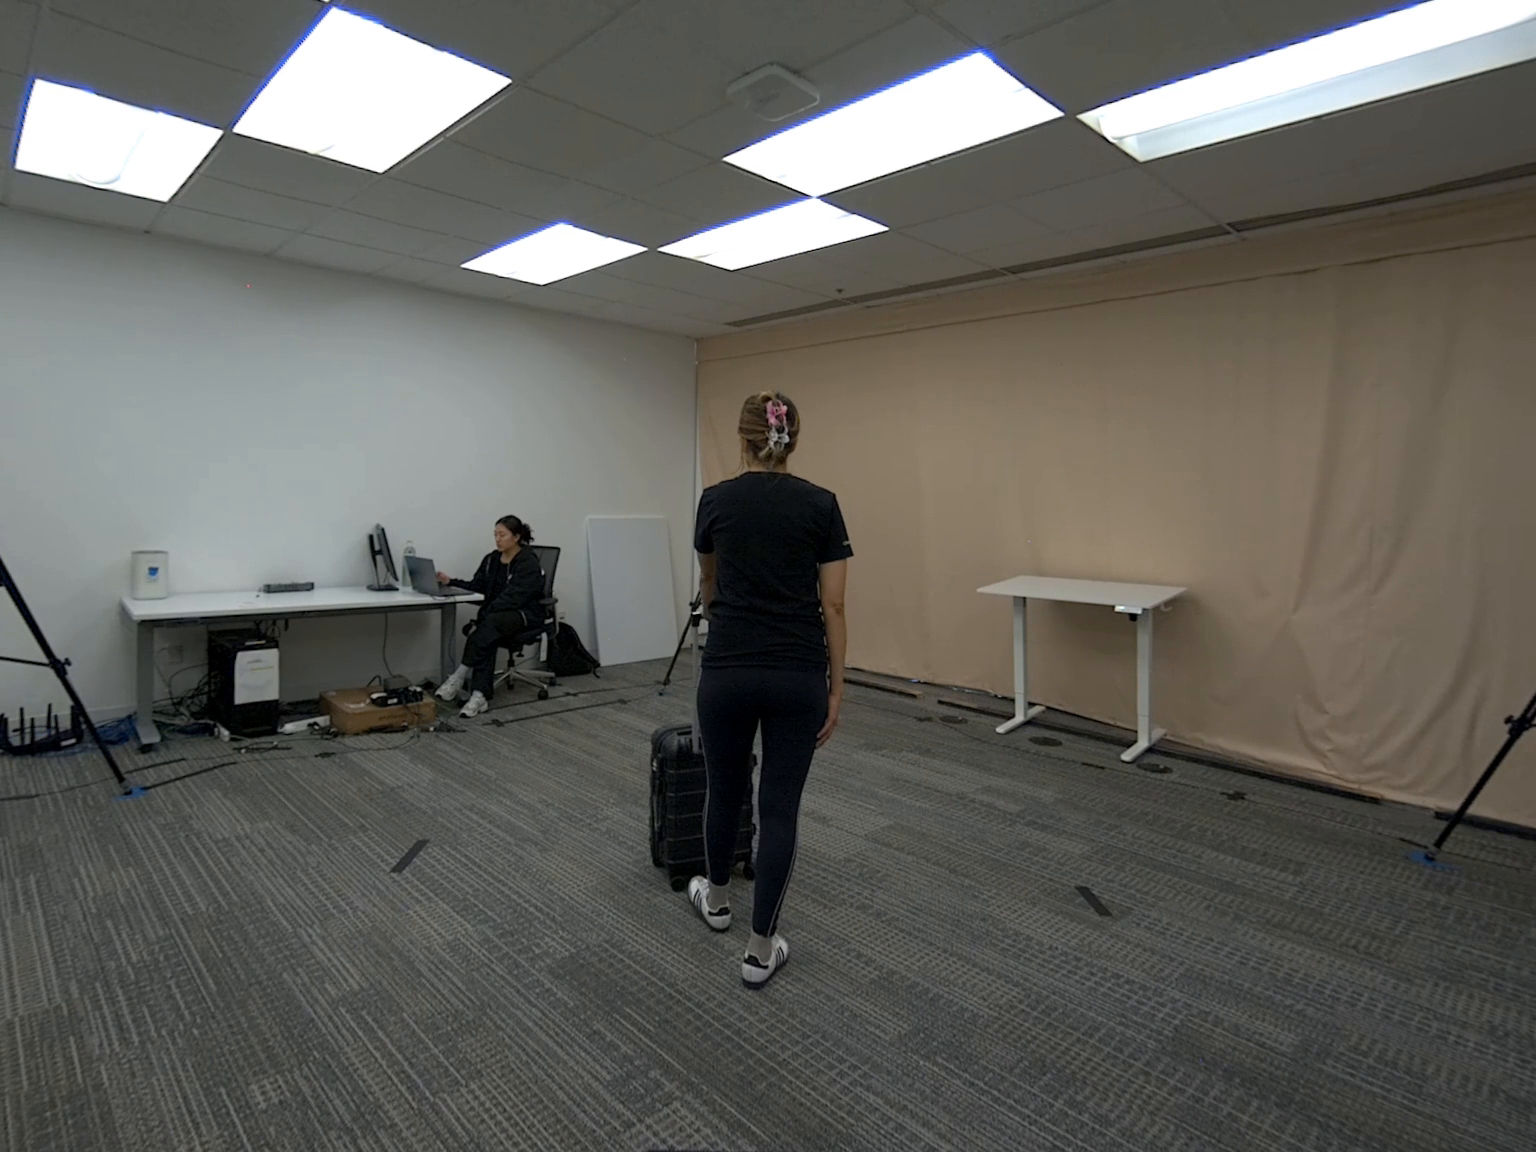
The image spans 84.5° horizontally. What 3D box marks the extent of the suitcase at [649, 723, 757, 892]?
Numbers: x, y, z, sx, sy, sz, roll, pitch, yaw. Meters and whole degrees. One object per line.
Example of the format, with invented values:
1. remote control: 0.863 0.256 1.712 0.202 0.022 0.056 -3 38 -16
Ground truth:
1. suitcase: -0.247 0.624 3.113 0.379 0.978 0.260 1 0 -17
